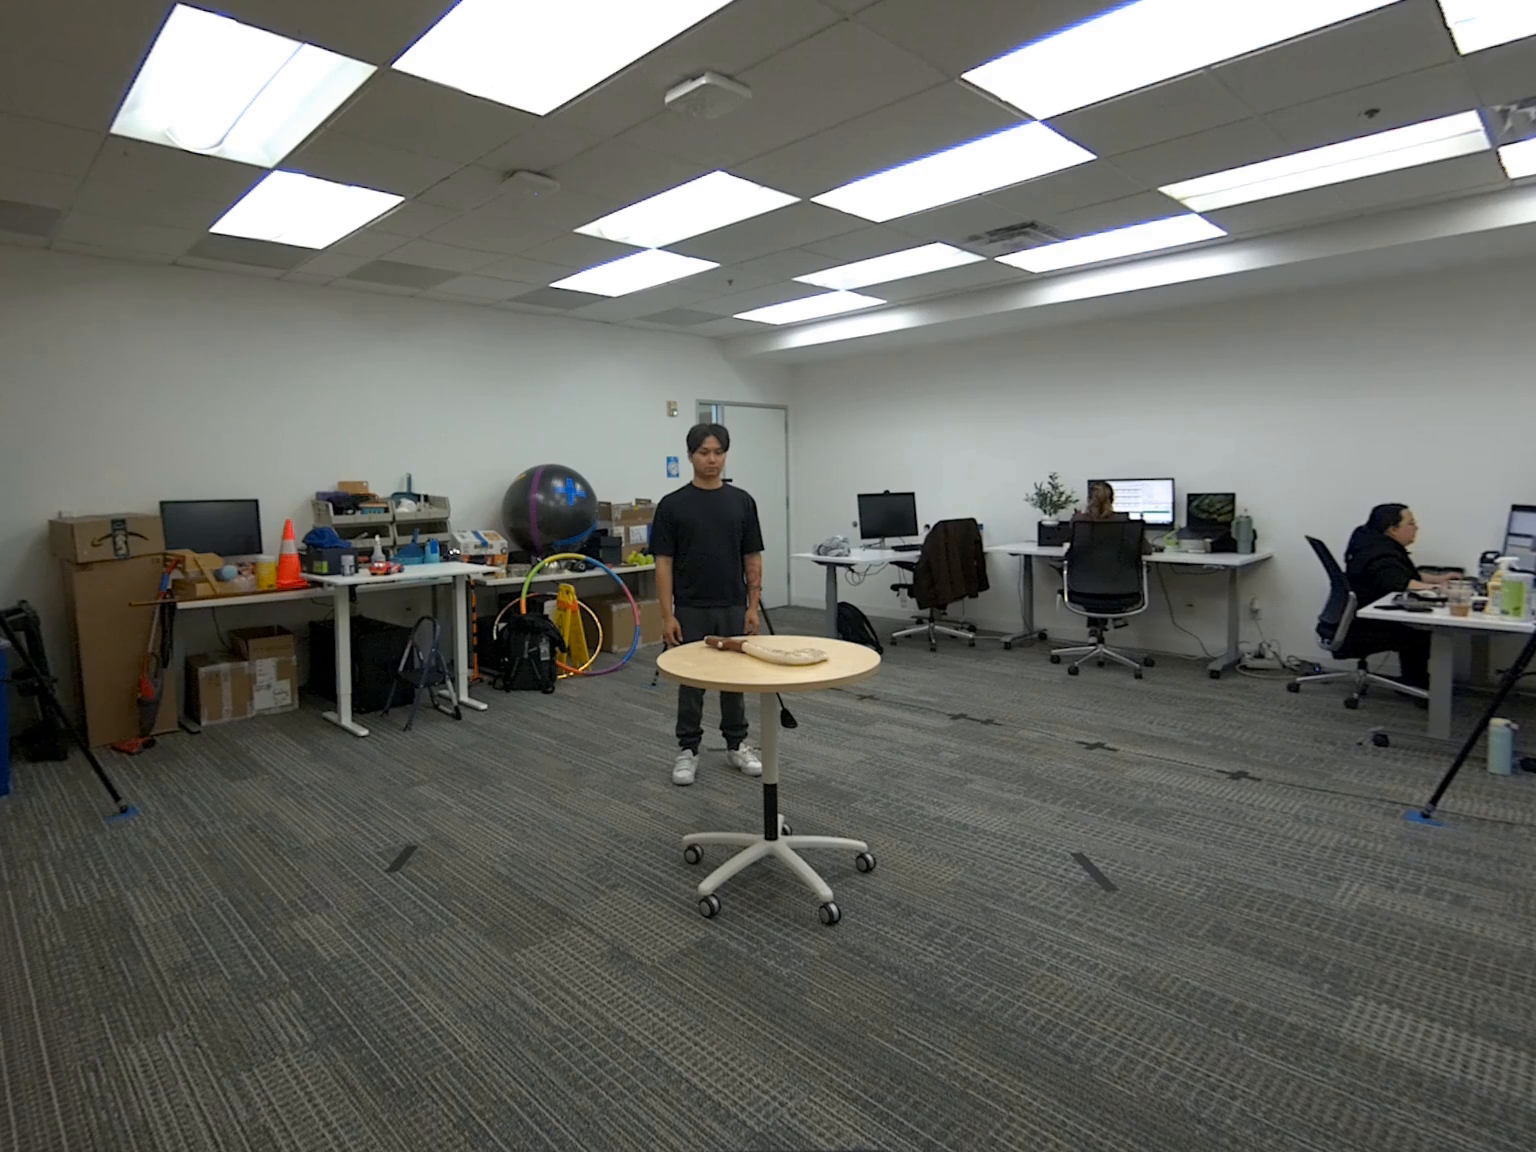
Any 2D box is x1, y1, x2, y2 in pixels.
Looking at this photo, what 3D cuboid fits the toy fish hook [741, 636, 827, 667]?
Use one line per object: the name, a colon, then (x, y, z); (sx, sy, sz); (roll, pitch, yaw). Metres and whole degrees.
toy fish hook: (-0.012, 0.263, 3.002); (0.218, 0.048, 0.523); (1, 4, -43)
